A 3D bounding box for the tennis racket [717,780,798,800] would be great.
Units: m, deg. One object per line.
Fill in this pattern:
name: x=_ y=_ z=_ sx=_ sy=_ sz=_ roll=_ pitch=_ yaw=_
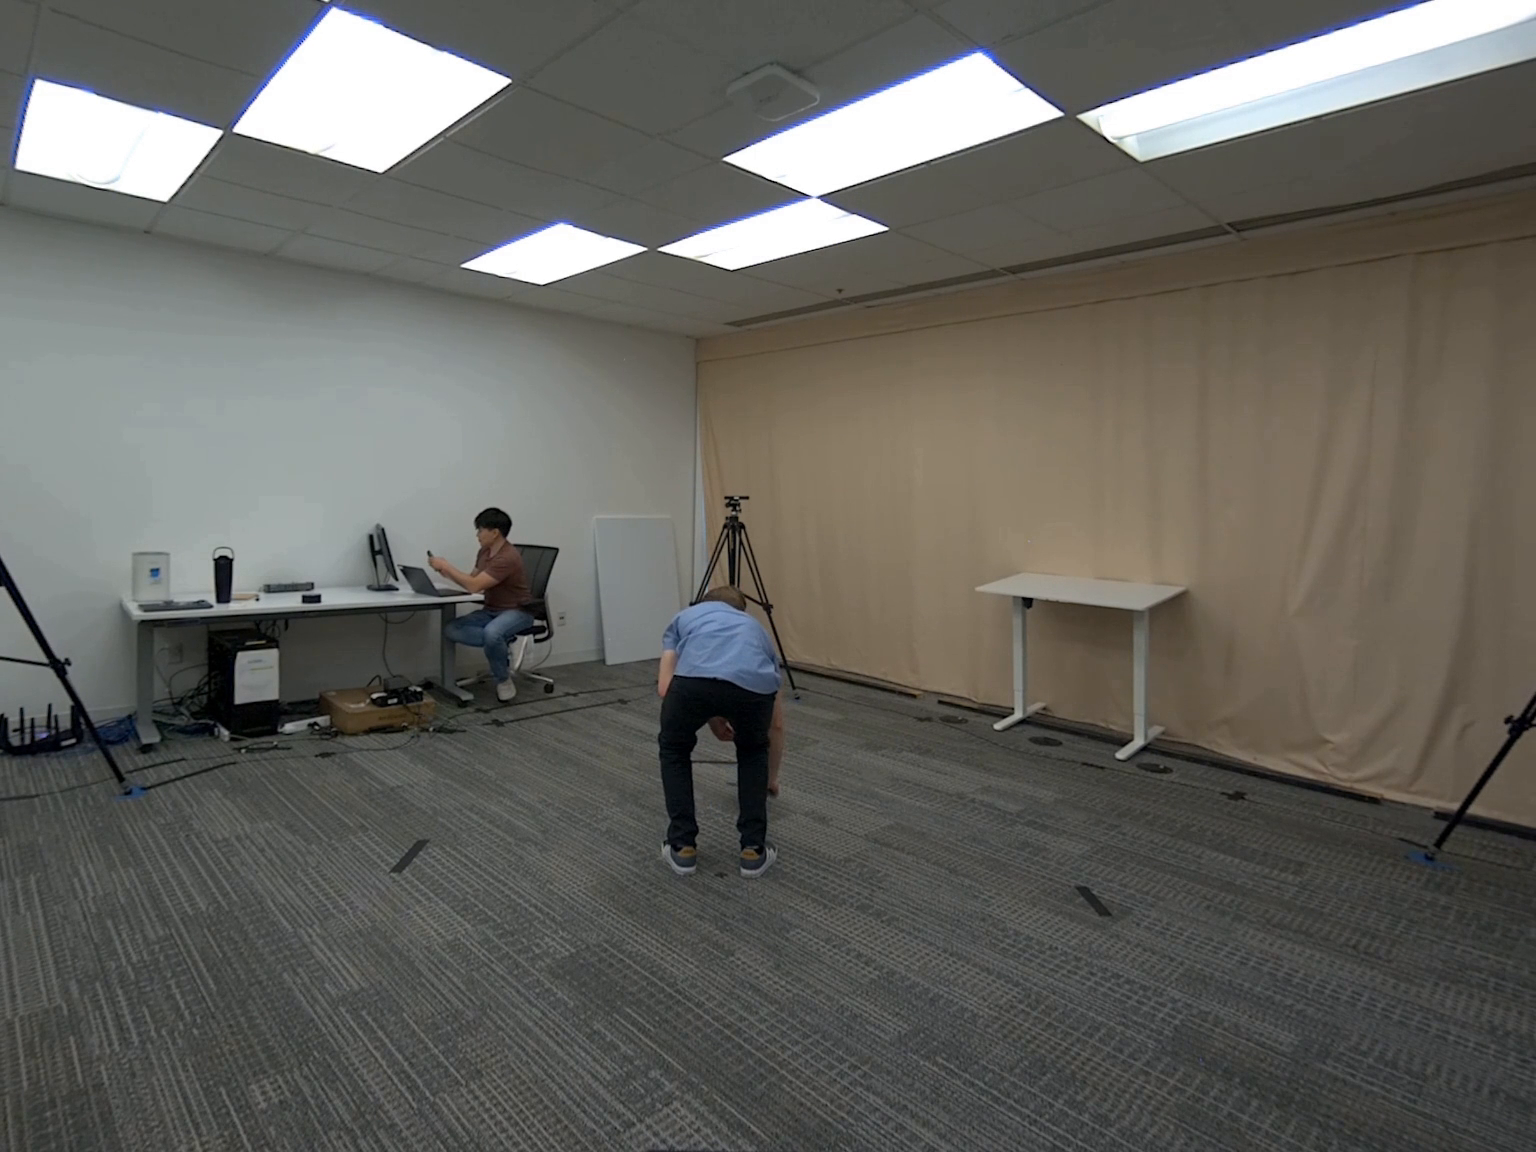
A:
tennis racket: x=-0.058 y=0.948 z=3.759 sx=0.210 sy=0.032 sz=0.436 roll=8 pitch=-11 yaw=-20
